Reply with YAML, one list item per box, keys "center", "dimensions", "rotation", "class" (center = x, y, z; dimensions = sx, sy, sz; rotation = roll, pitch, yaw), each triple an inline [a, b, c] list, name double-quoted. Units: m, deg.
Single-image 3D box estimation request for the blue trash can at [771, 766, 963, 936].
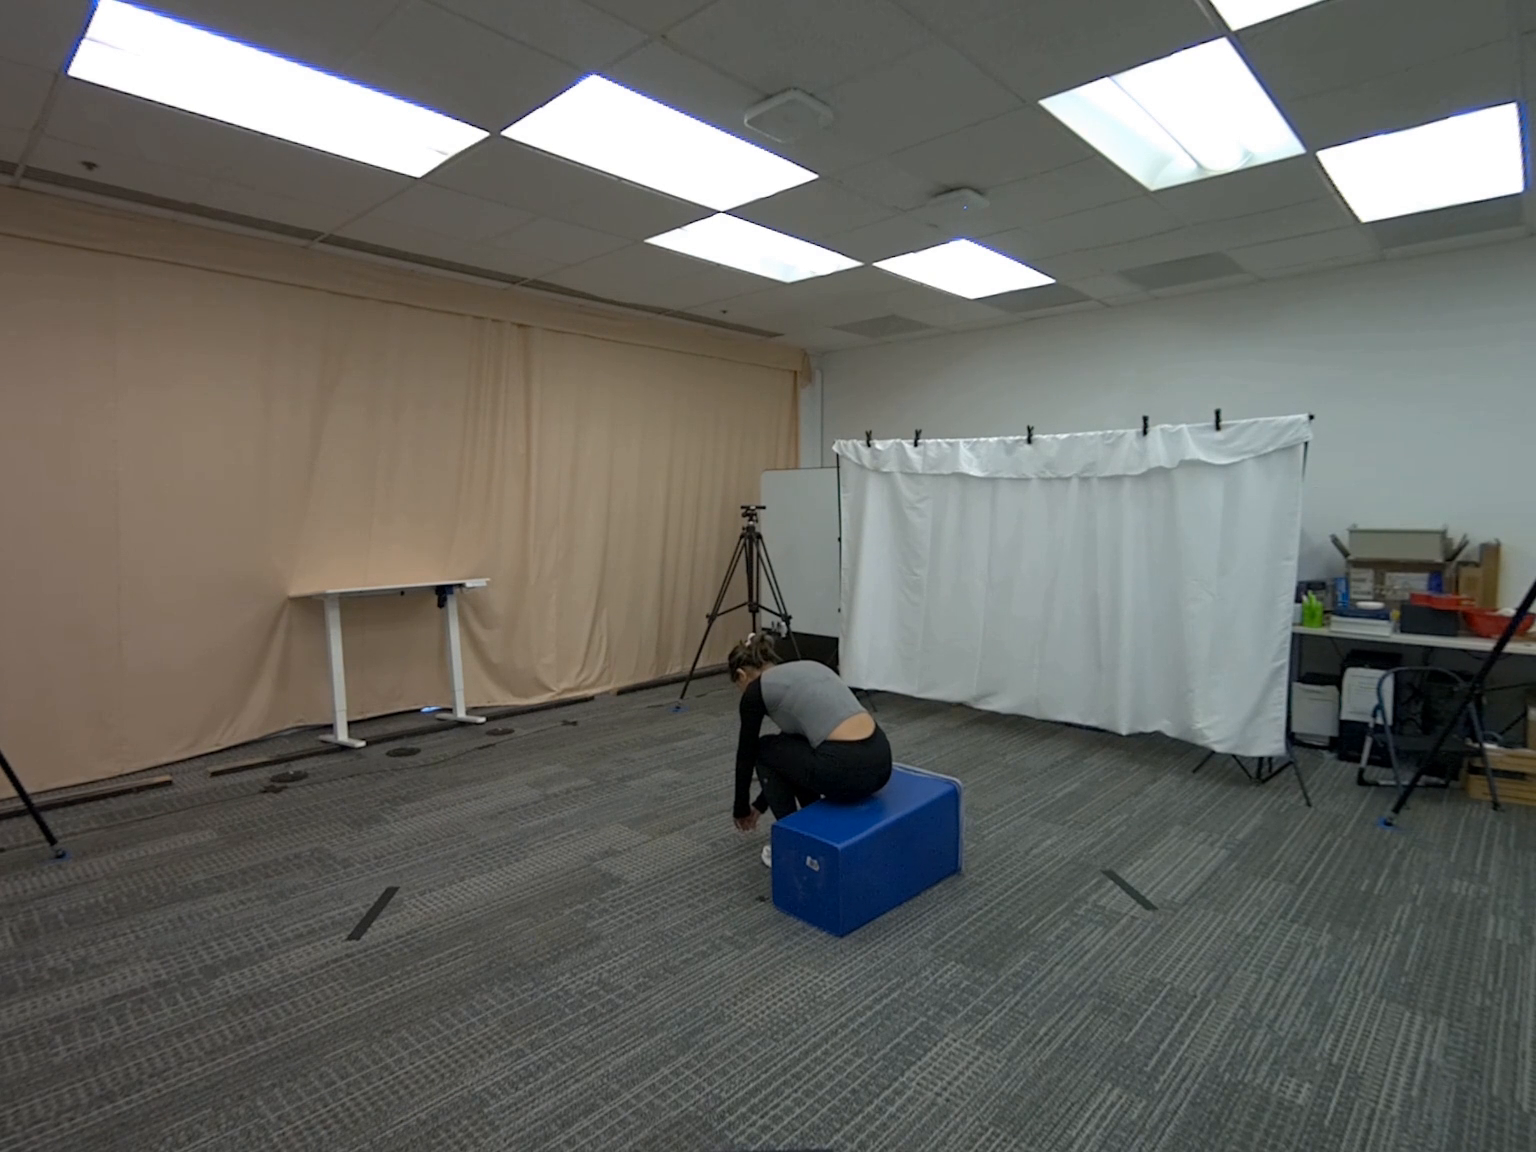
- center: [0.373, 0.962, 3.039]
  dimensions: [0.391, 0.373, 0.692]
  rotation: [4, 8, 43]
  class: "blue trash can"
